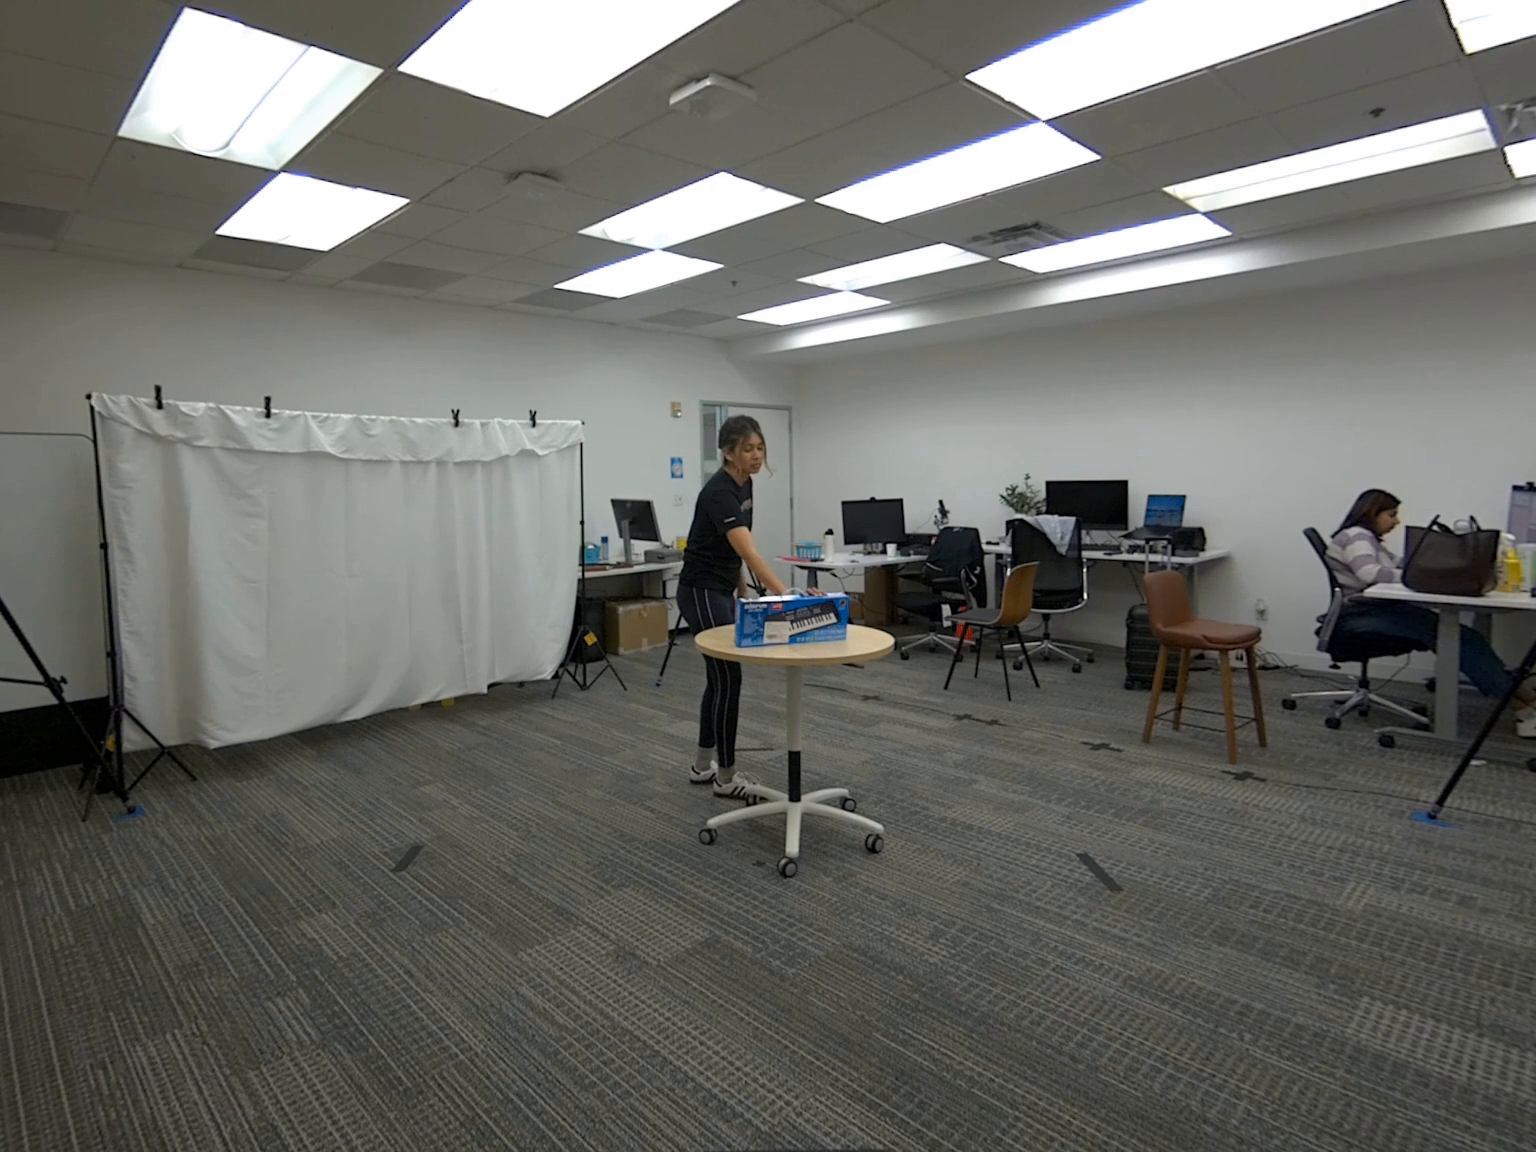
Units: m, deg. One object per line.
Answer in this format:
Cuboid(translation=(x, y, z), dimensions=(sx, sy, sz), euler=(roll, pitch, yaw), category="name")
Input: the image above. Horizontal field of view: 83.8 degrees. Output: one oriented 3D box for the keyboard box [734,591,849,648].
Cuboid(translation=(0.090, 0.168, 3.196), dimensions=(0.429, 0.174, 0.061), euler=(-2, 10, -20), category="keyboard box")
